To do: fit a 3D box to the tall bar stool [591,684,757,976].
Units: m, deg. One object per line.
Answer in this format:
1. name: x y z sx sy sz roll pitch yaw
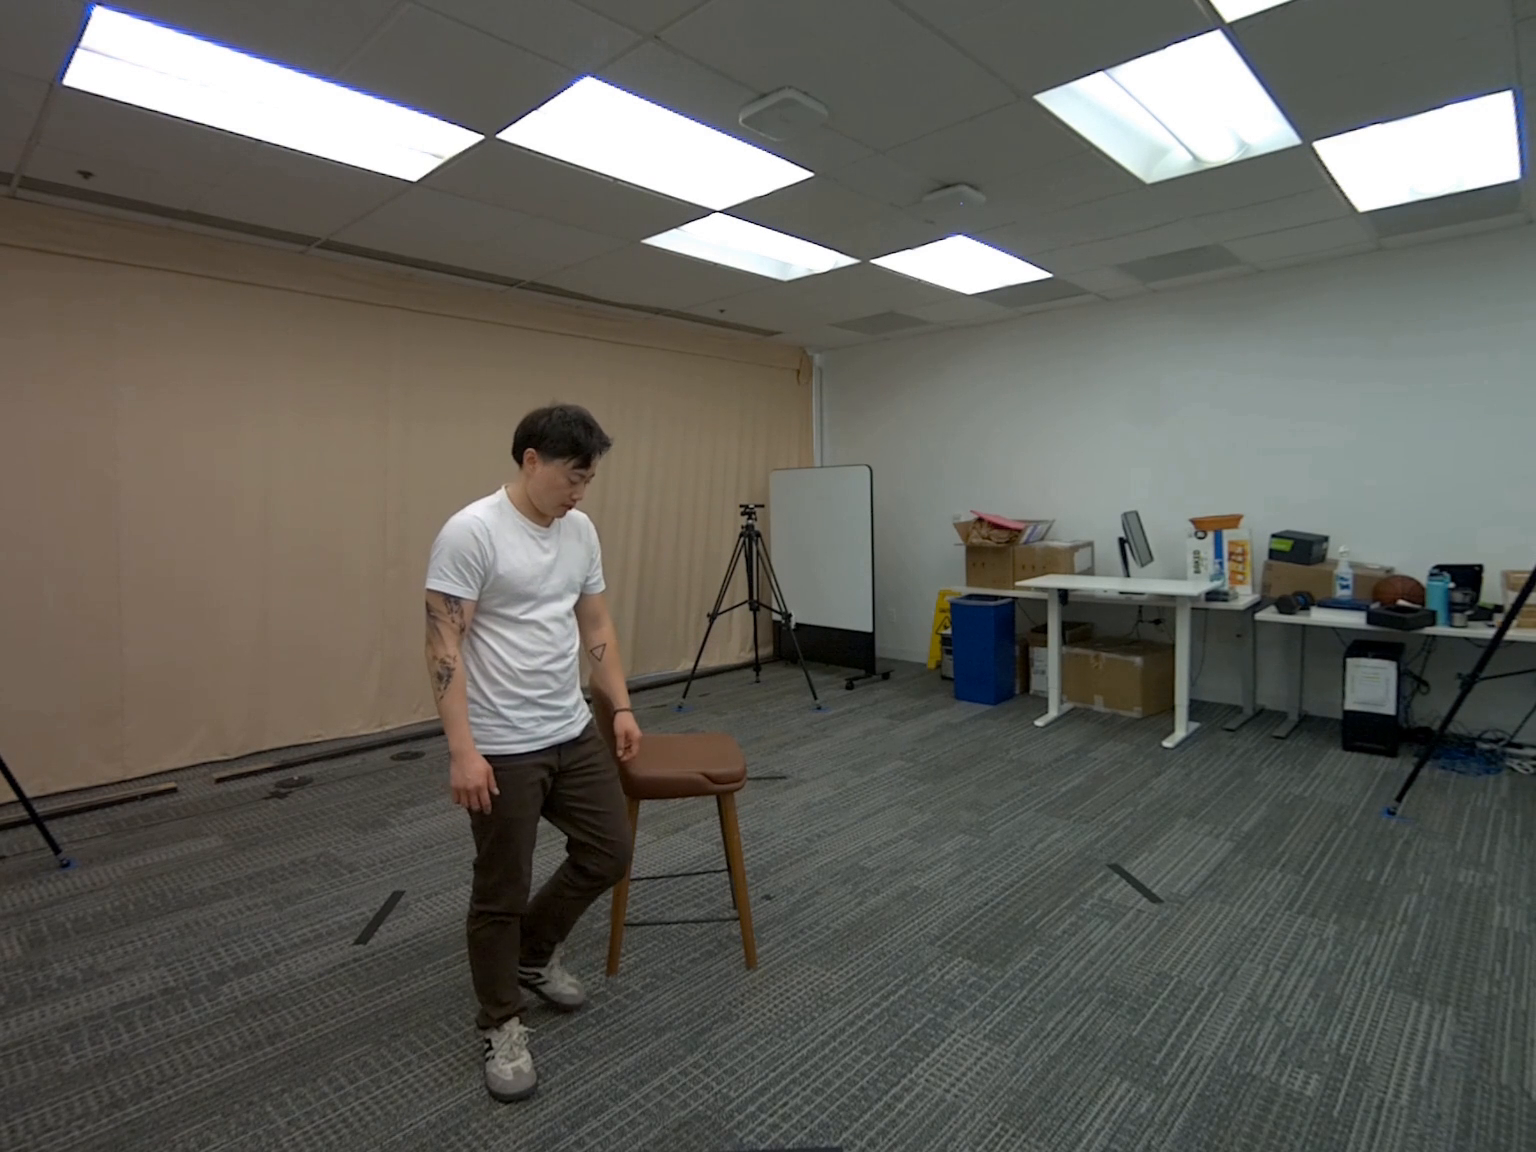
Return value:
1. tall bar stool: -0.297 0.737 2.682 0.464 0.888 0.461 -3 3 -7
